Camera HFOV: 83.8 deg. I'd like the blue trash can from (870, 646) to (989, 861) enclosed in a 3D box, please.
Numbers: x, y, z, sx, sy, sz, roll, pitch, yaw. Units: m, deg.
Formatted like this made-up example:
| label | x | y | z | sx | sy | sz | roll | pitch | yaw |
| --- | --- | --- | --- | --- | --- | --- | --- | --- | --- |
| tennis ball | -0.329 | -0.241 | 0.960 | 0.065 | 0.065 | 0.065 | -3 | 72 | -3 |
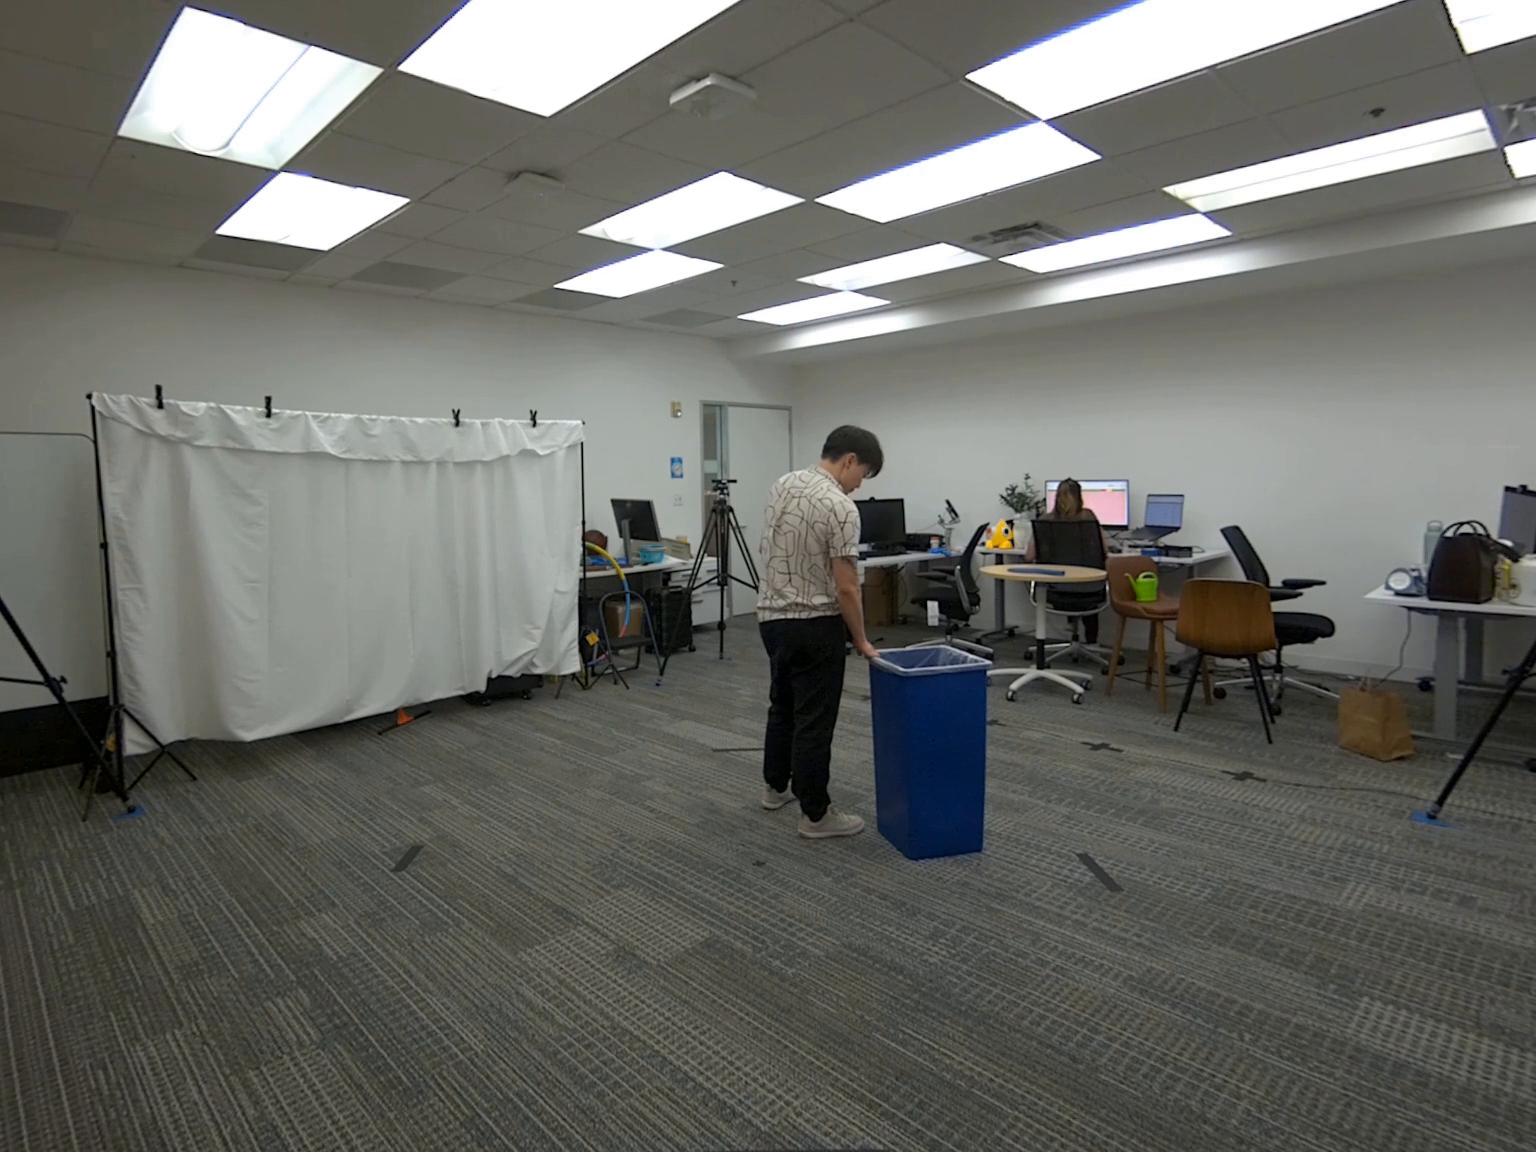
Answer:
| label | x | y | z | sx | sy | sz | roll | pitch | yaw |
| --- | --- | --- | --- | --- | --- | --- | --- | --- | --- |
| blue trash can | 0.608 | 0.662 | 3.259 | 0.369 | 0.711 | 0.385 | -2 | 3 | -16 |
